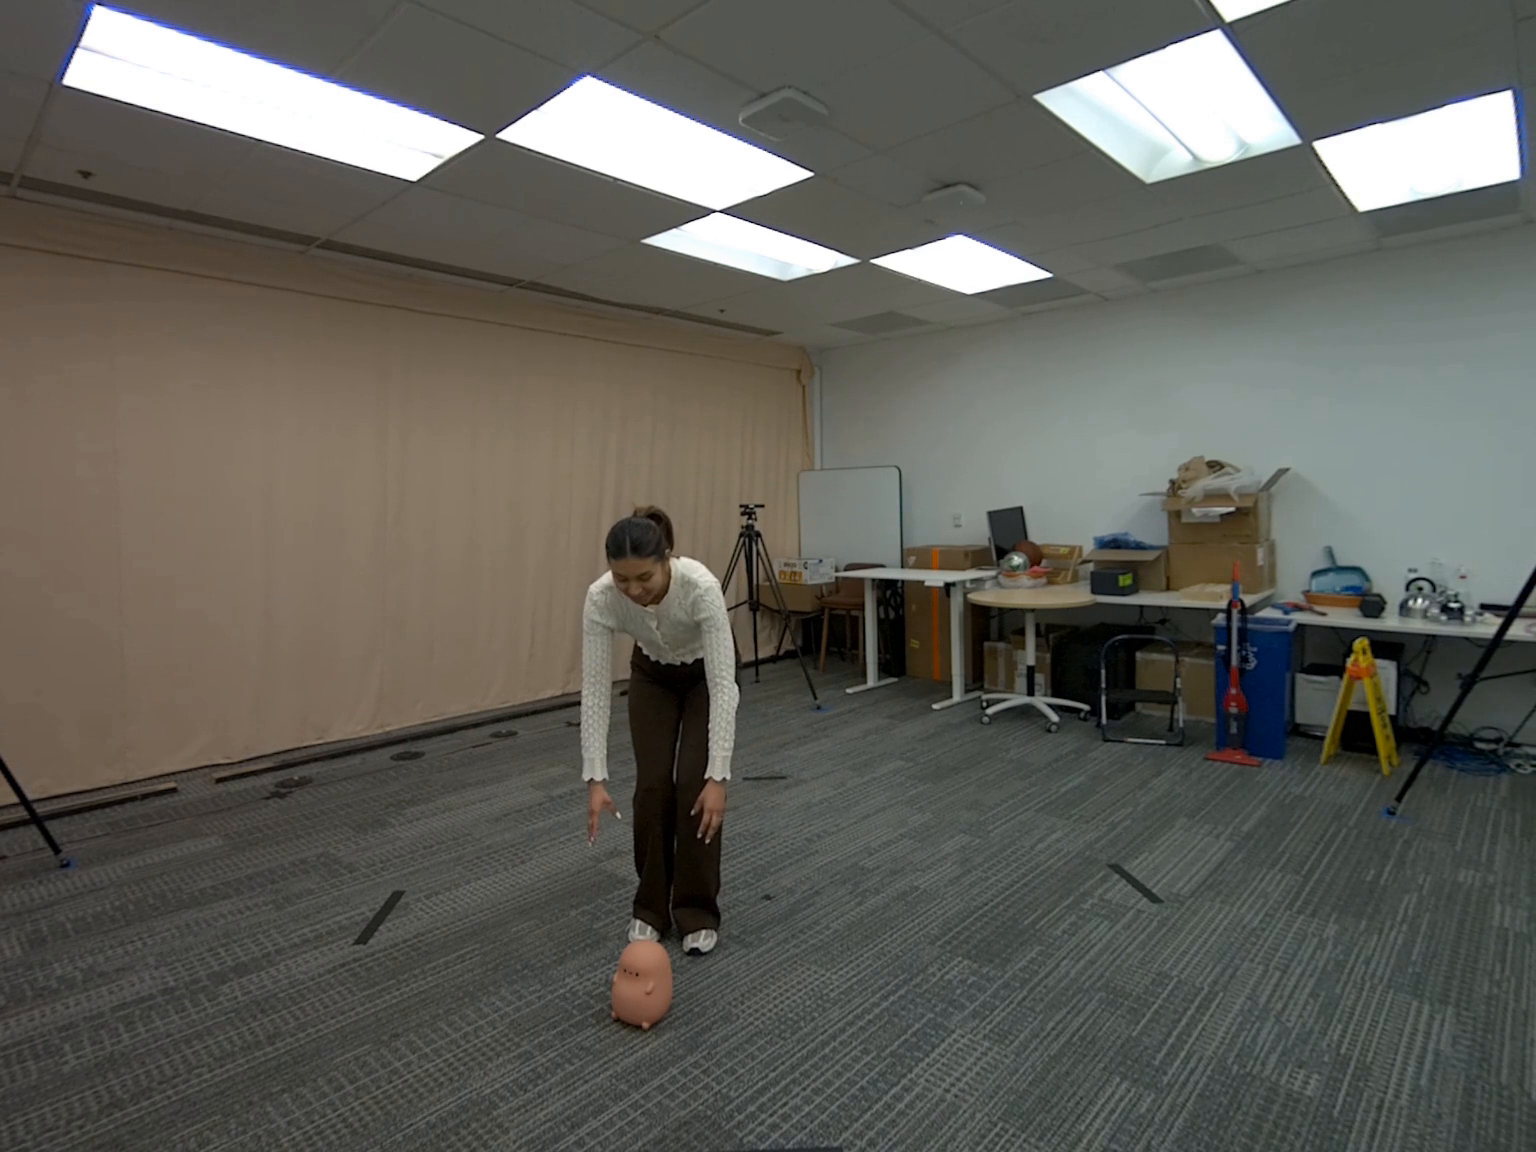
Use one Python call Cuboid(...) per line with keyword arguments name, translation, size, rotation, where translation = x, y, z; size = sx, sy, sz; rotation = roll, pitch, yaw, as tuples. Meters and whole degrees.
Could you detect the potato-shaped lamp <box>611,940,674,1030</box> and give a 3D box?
Cuboid(name="potato-shaped lamp", translation=(-0.344, 1.100, 2.312), size=(0.169, 0.198, 0.167), rotation=(-1, 4, 33))
